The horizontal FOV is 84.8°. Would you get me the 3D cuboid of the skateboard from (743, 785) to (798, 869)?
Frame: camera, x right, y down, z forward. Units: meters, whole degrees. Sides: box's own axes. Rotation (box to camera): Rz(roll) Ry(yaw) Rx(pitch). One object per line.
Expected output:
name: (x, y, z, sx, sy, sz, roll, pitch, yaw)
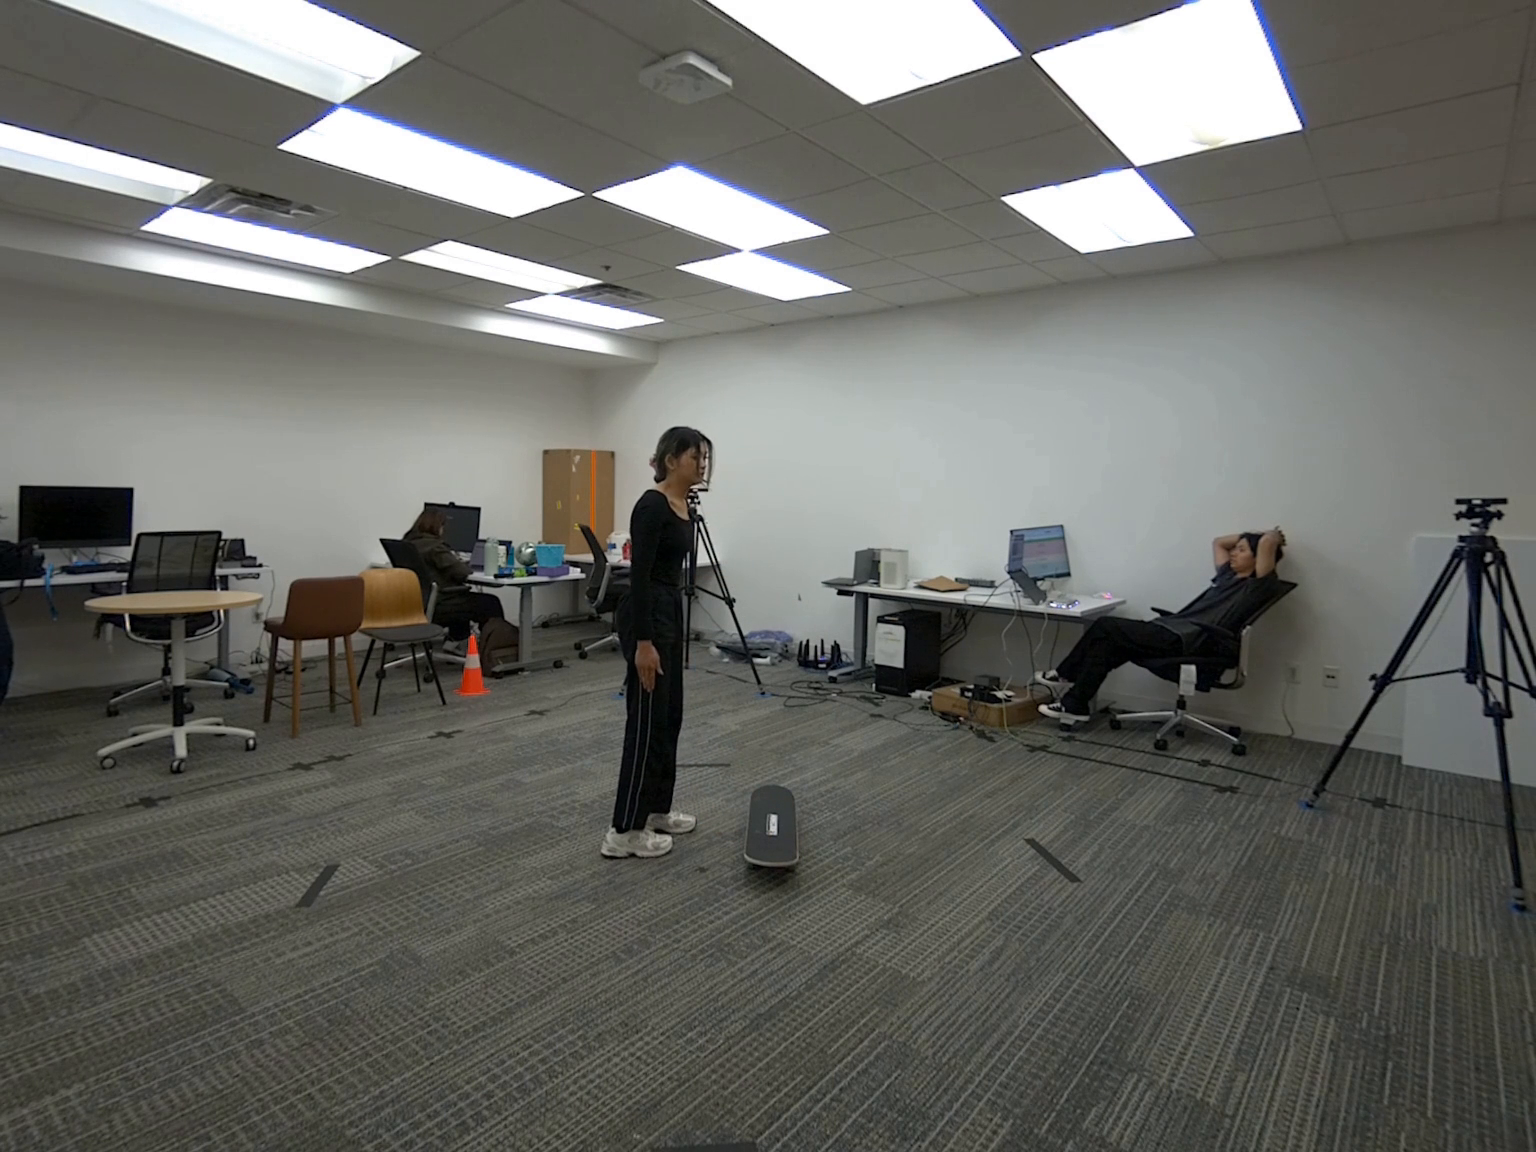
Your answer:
skateboard: (0.009, 0.994, 3.313, 0.194, 0.110, 0.785, 2, 6, 2)
